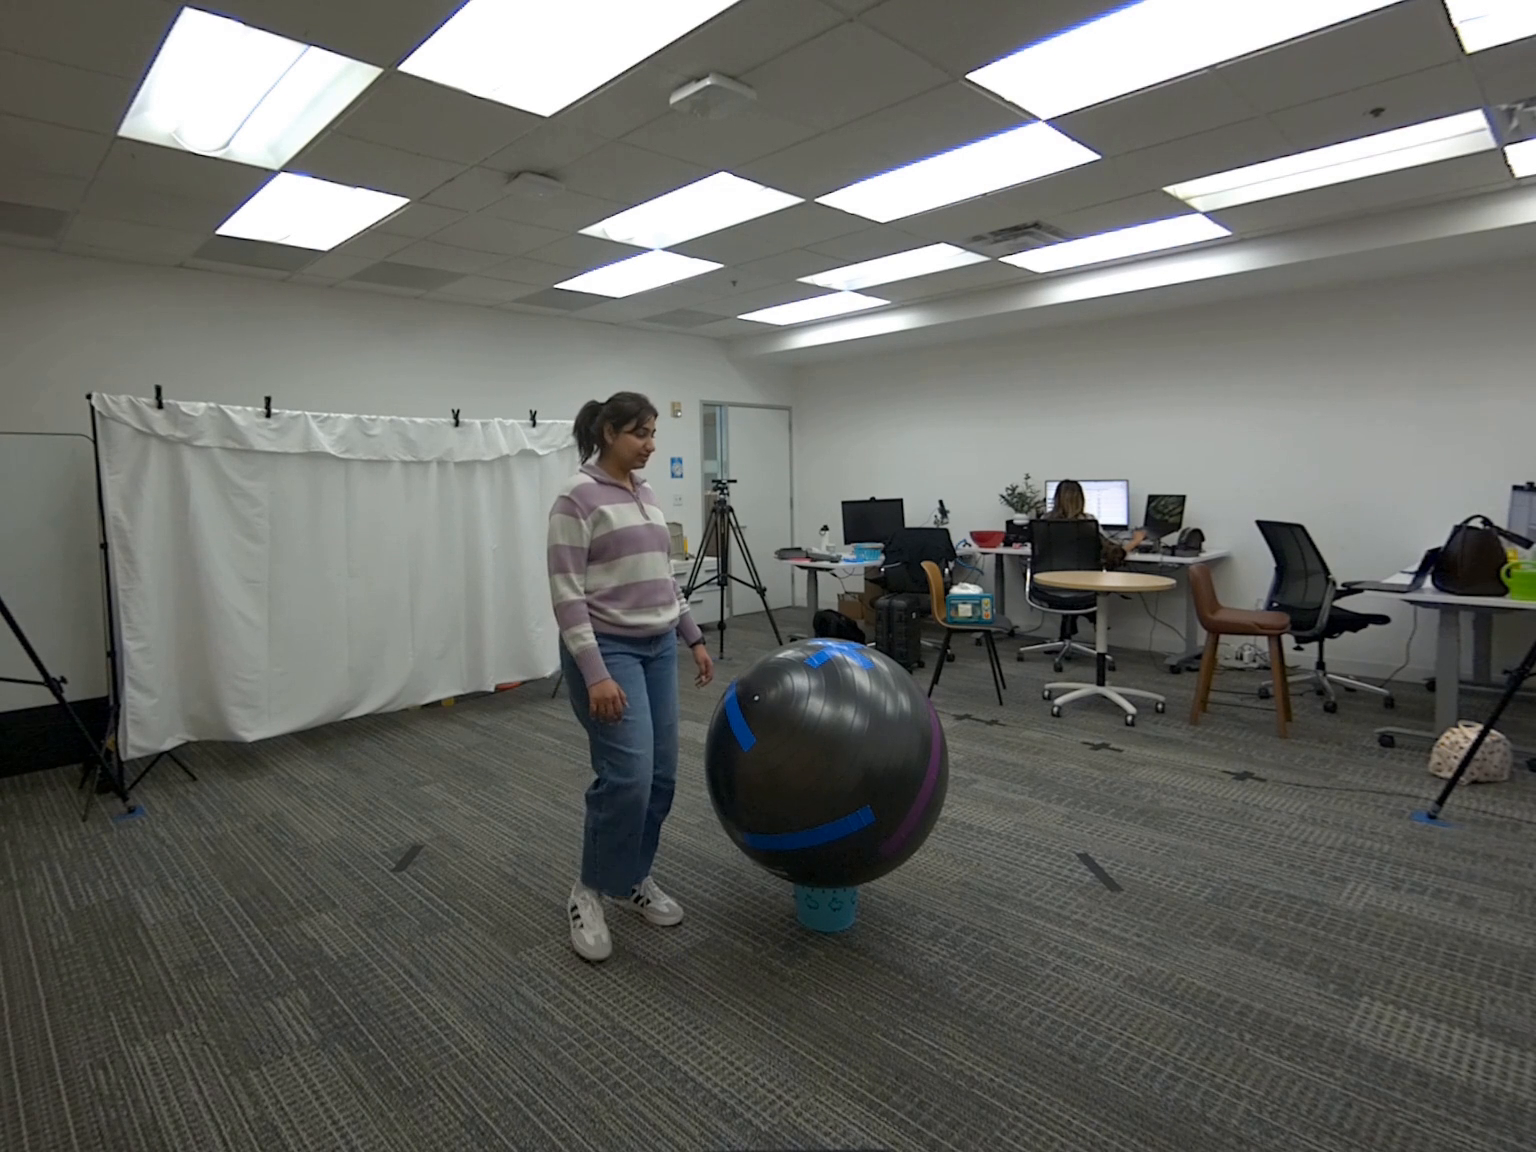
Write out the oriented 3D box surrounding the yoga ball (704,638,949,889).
[{"bbox_3d":[0.181,0.585,2.680,0.757,0.755,0.762,-1,5,-2],"label":"yoga ball"}]
